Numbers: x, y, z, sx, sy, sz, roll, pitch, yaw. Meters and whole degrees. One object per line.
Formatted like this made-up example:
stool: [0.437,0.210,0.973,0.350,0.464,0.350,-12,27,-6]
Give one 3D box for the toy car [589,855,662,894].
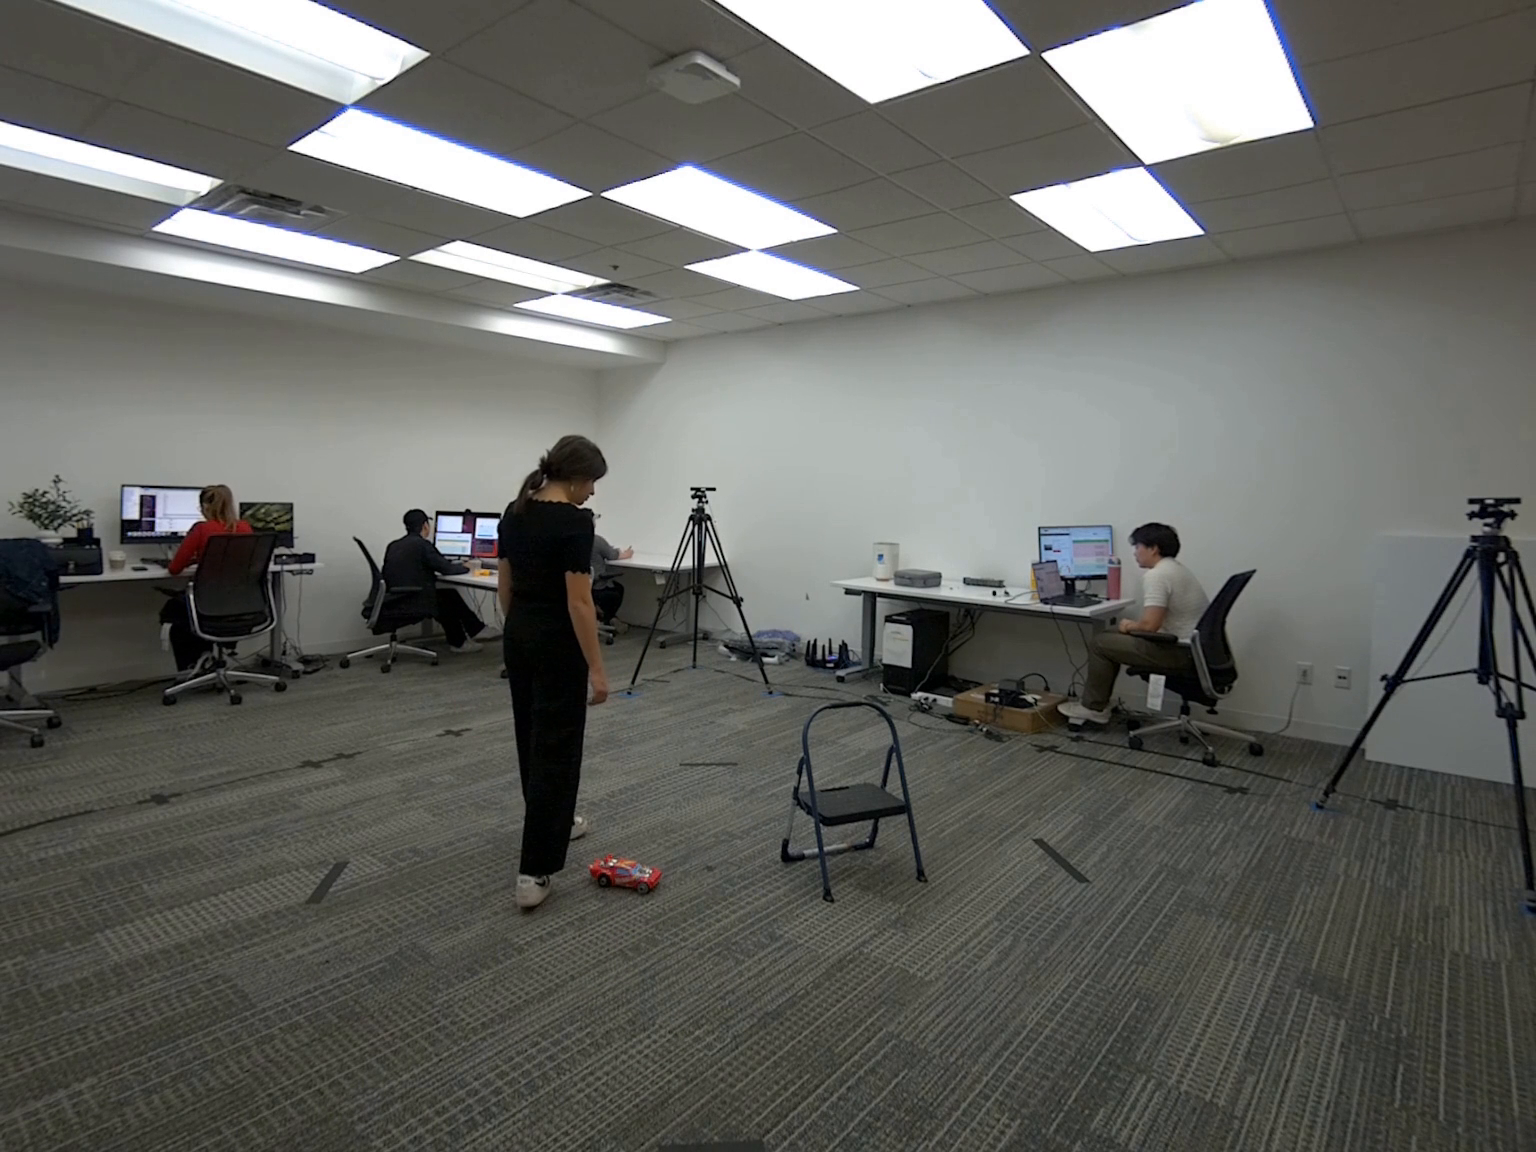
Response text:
toy car: [-0.525,1.052,2.979,0.260,0.082,0.128,13,10,17]
